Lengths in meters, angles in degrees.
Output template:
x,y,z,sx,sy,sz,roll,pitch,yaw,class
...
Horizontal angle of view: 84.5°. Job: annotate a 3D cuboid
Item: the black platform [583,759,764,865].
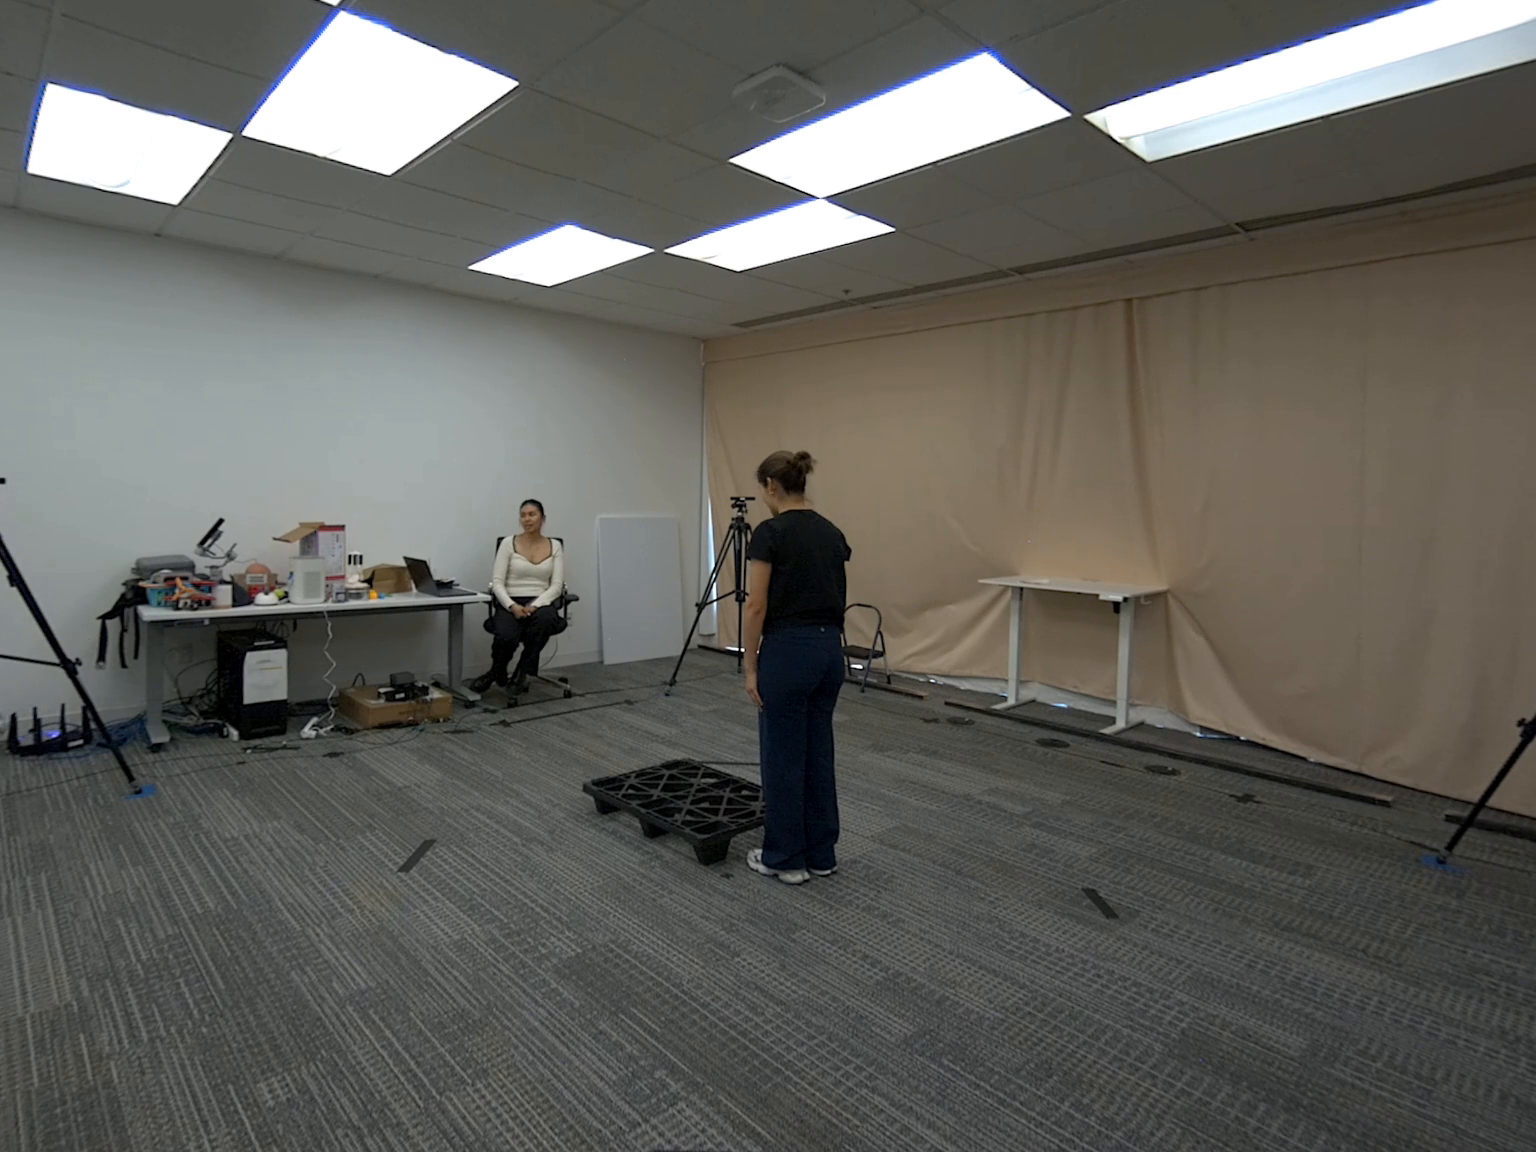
x,y,z,sx,sy,sz,roll,pitch,yaw,class
-0.334,0.997,3.583,0.591,0.143,0.826,-4,7,-45,black platform
